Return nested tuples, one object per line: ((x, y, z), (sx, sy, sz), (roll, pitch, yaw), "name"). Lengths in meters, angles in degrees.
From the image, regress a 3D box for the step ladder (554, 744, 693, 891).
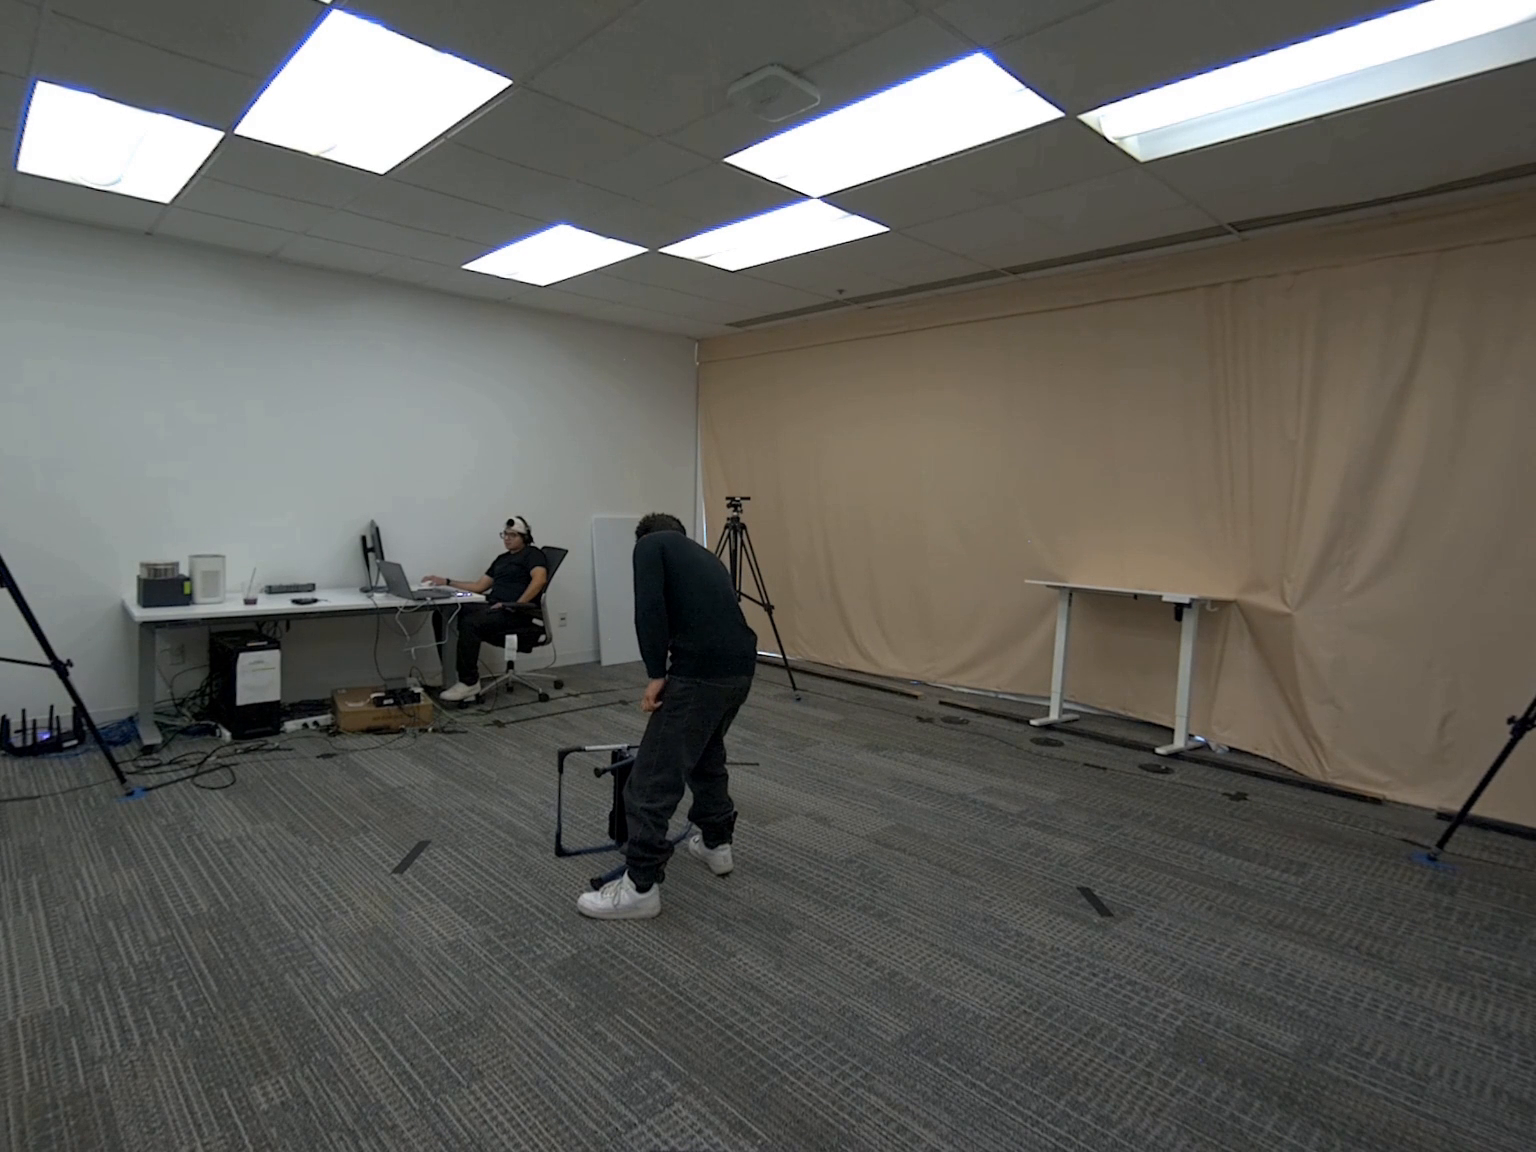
((-0.487, 0.877, 3.278), (0.592, 0.430, 0.358), (0, 3, -39), "step ladder")
